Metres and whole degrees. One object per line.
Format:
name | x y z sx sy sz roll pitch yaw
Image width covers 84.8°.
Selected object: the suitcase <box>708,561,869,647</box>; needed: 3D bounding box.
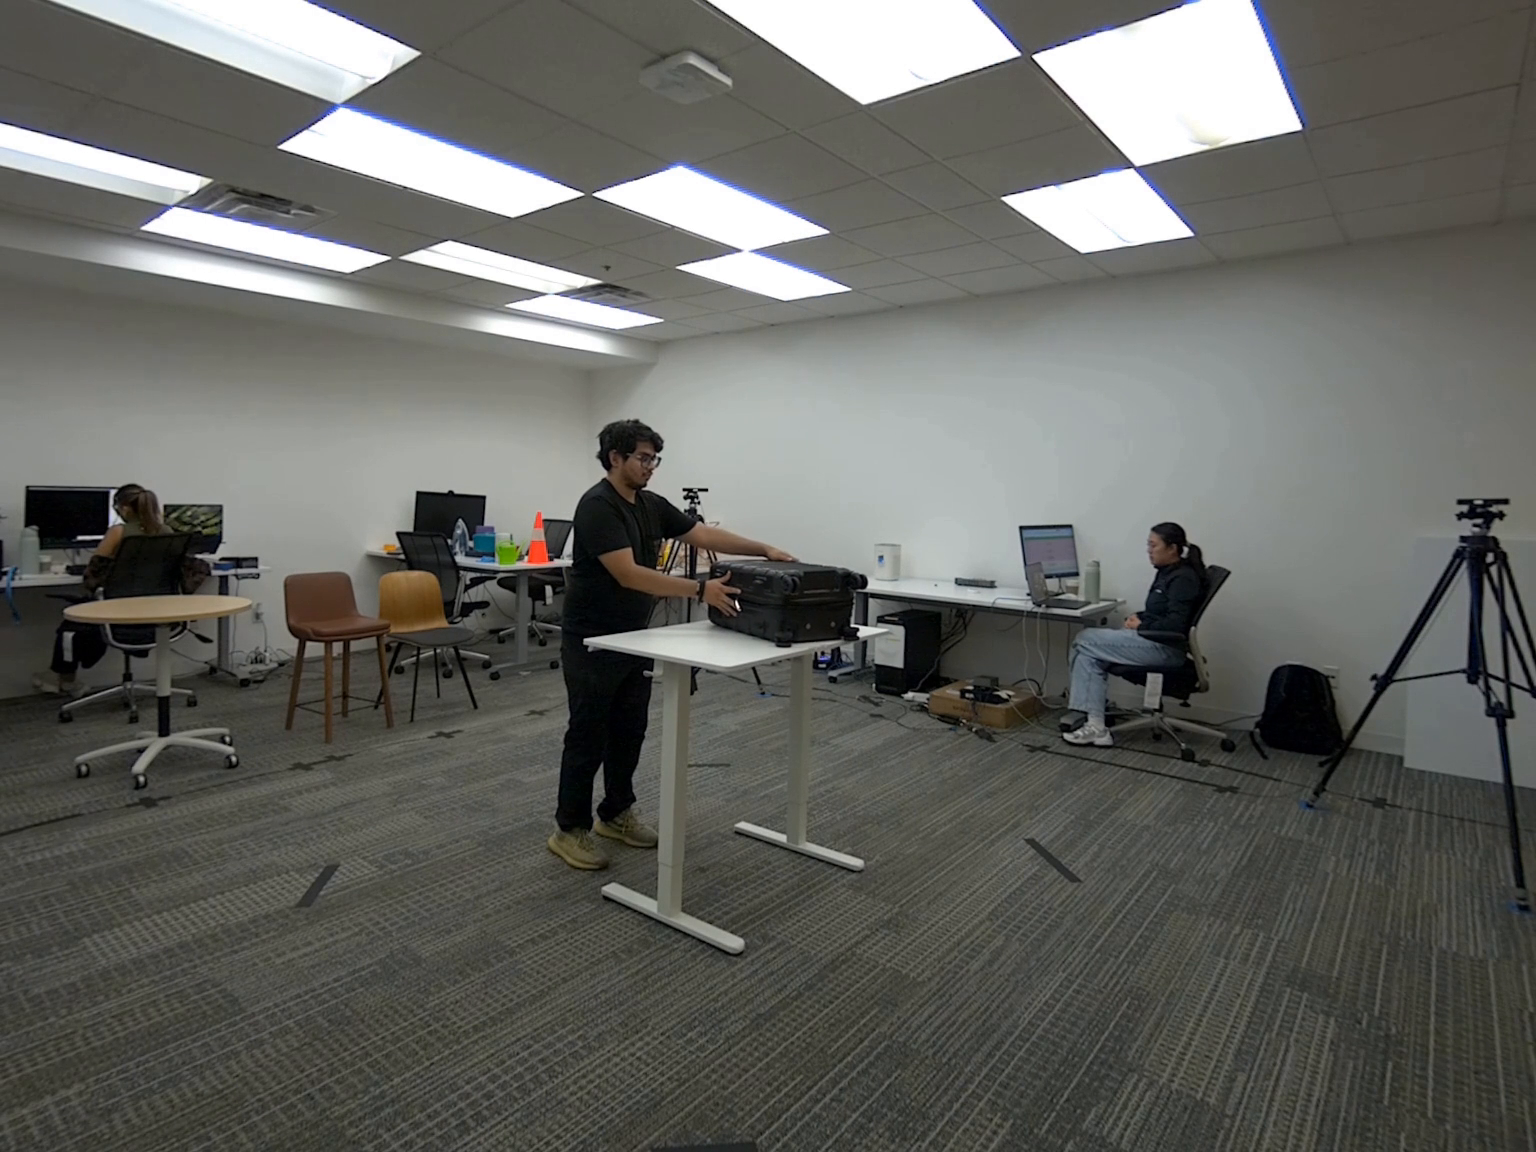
suitcase | 0.035 0.084 3.043 0.364 0.247 0.568 -1 6 -35
